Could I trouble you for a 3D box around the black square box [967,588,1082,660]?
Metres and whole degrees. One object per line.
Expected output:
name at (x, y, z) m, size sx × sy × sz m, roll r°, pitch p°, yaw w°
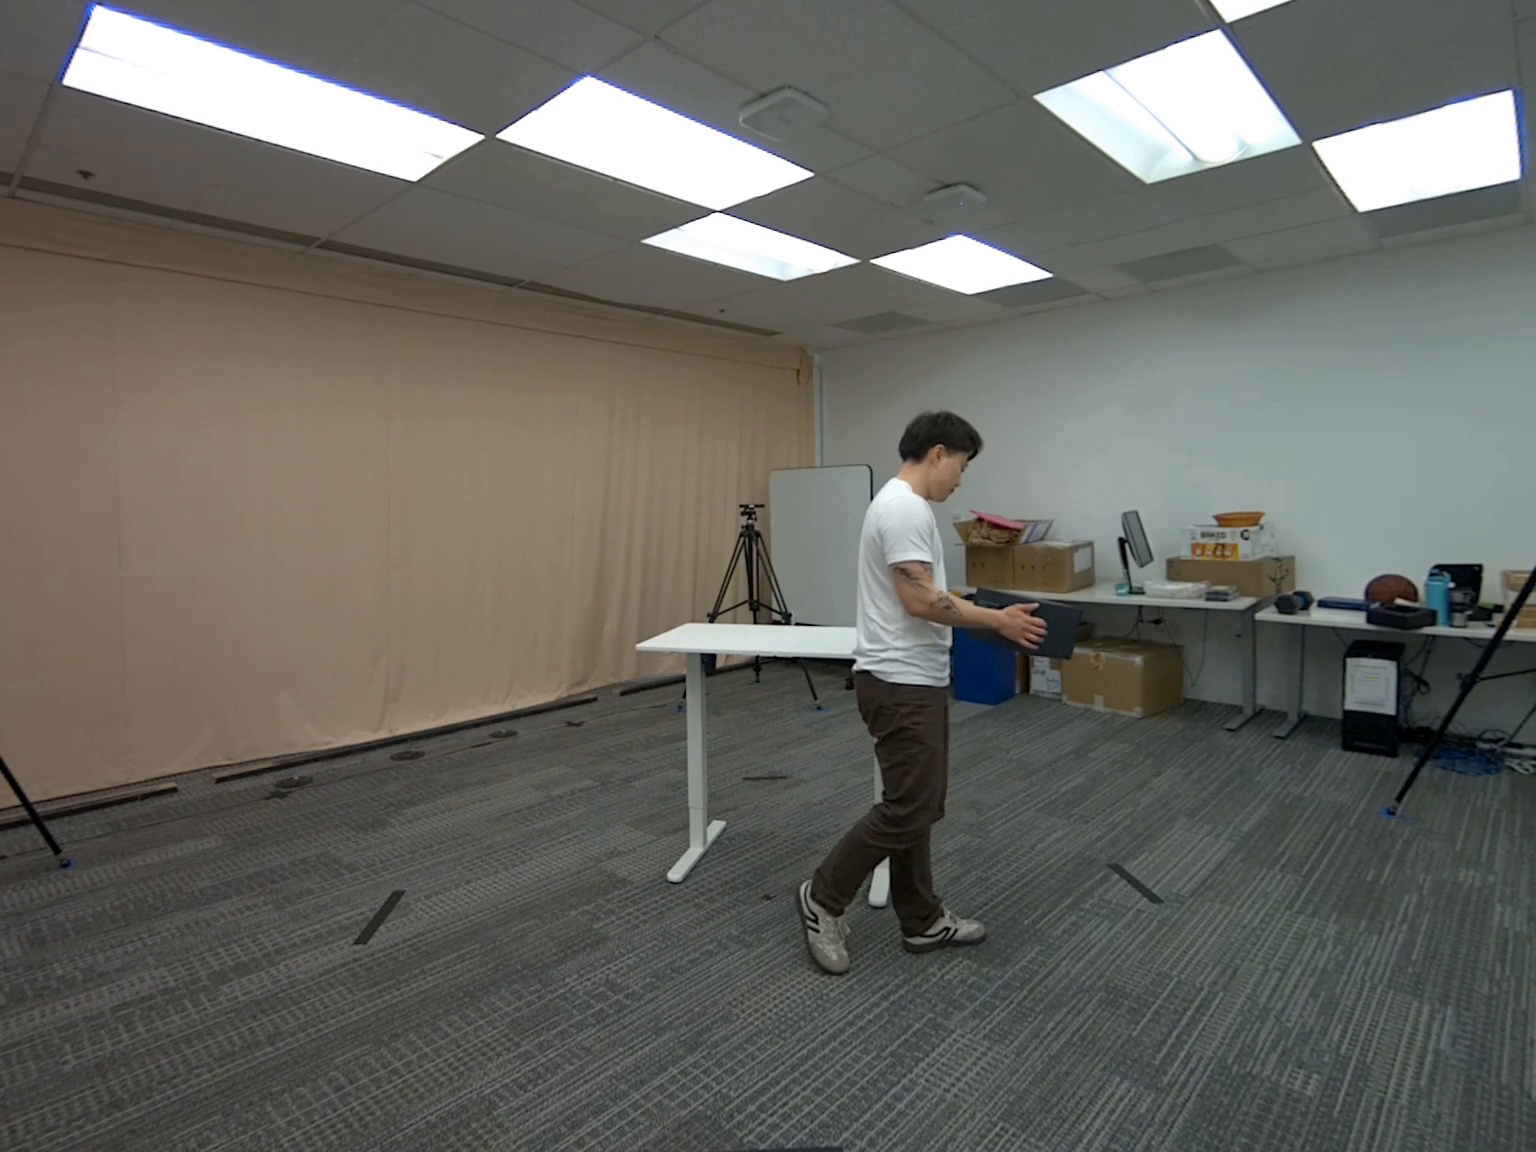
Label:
black square box at (0.758, 0.146, 2.506) m, size 0.220 × 0.156 × 0.225 m, roll 9°, pitch 4°, yaw -41°
